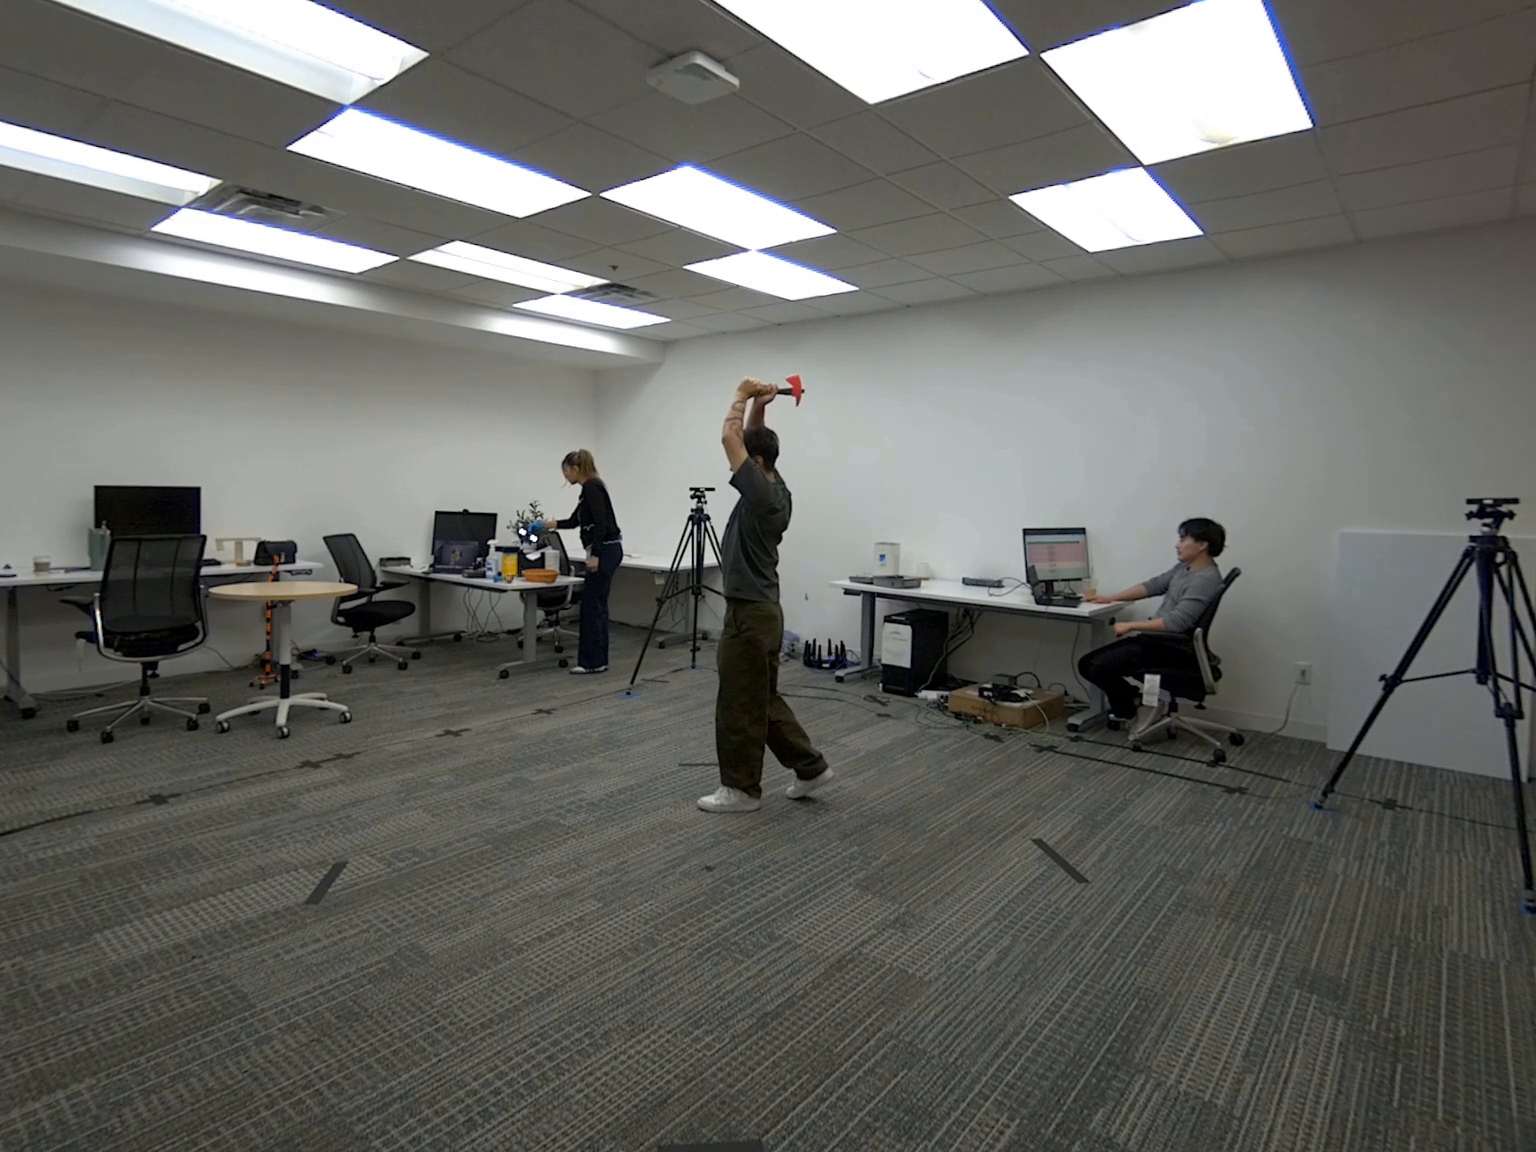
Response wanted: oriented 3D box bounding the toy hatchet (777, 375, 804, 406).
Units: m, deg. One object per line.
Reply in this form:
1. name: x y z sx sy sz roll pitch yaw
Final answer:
1. toy hatchet: 0.010 -0.831 3.629 0.270 0.130 0.030 19 18 1
